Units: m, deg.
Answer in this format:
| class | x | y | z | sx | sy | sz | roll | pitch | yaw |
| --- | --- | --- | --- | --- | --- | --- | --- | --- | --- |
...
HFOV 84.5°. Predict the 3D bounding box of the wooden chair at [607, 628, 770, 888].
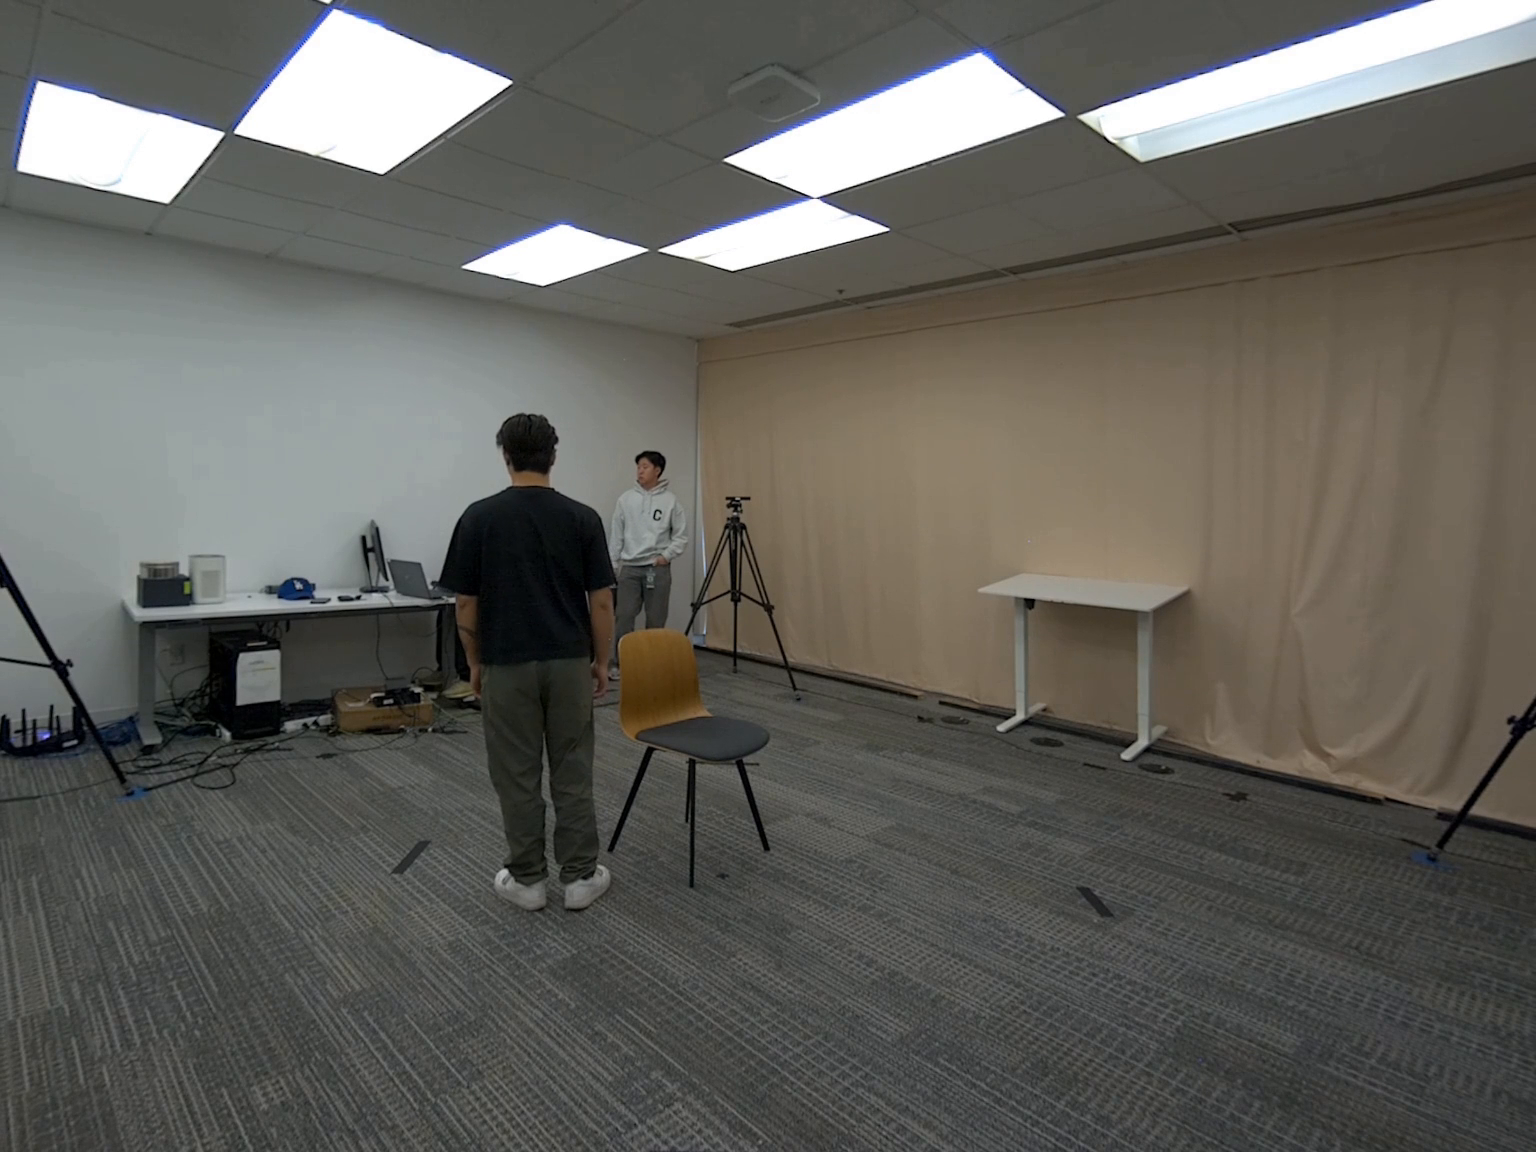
| class | x | y | z | sx | sy | sz | roll | pitch | yaw |
| --- | --- | --- | --- | --- | --- | --- | --- | --- | --- |
| wooden chair | -0.297 | 0.659 | 3.279 | 0.535 | 0.877 | 0.467 | -1 | 0 | 40 |
